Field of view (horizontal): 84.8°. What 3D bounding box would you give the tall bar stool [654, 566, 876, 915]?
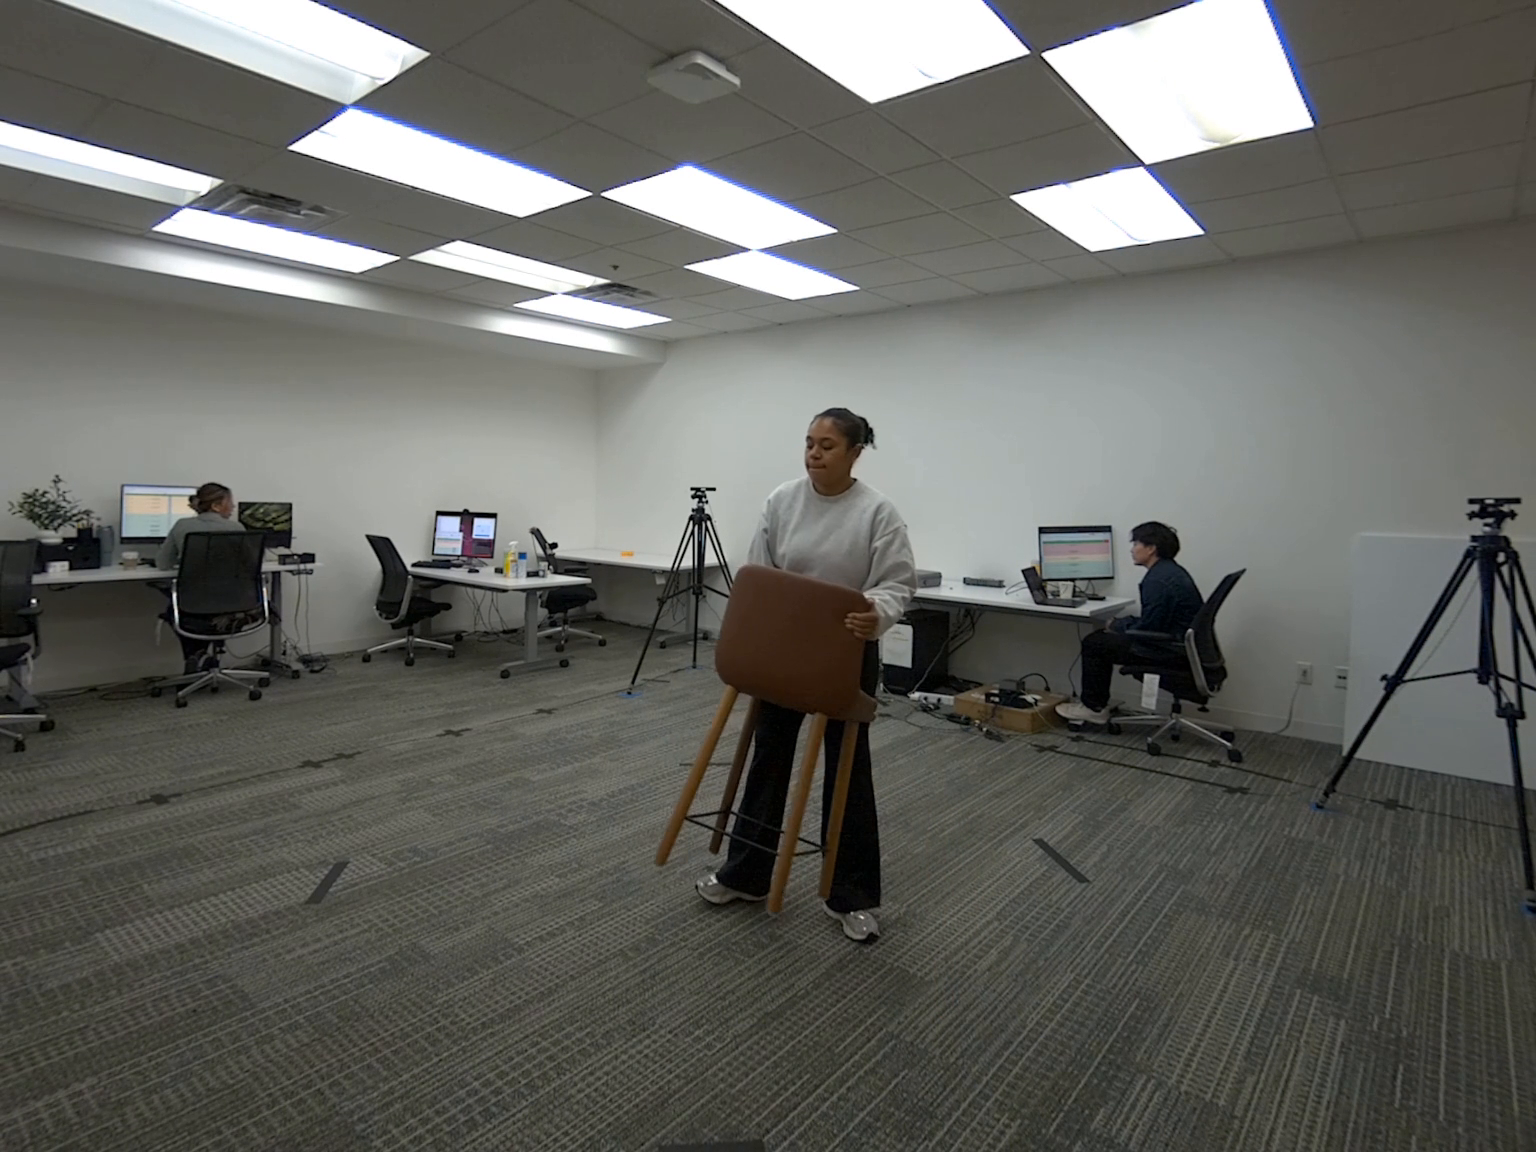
[{"bbox_3d":[0.030,0.467,2.519,0.470,0.894,0.452,12,-8,24],"label":"tall bar stool"}]
